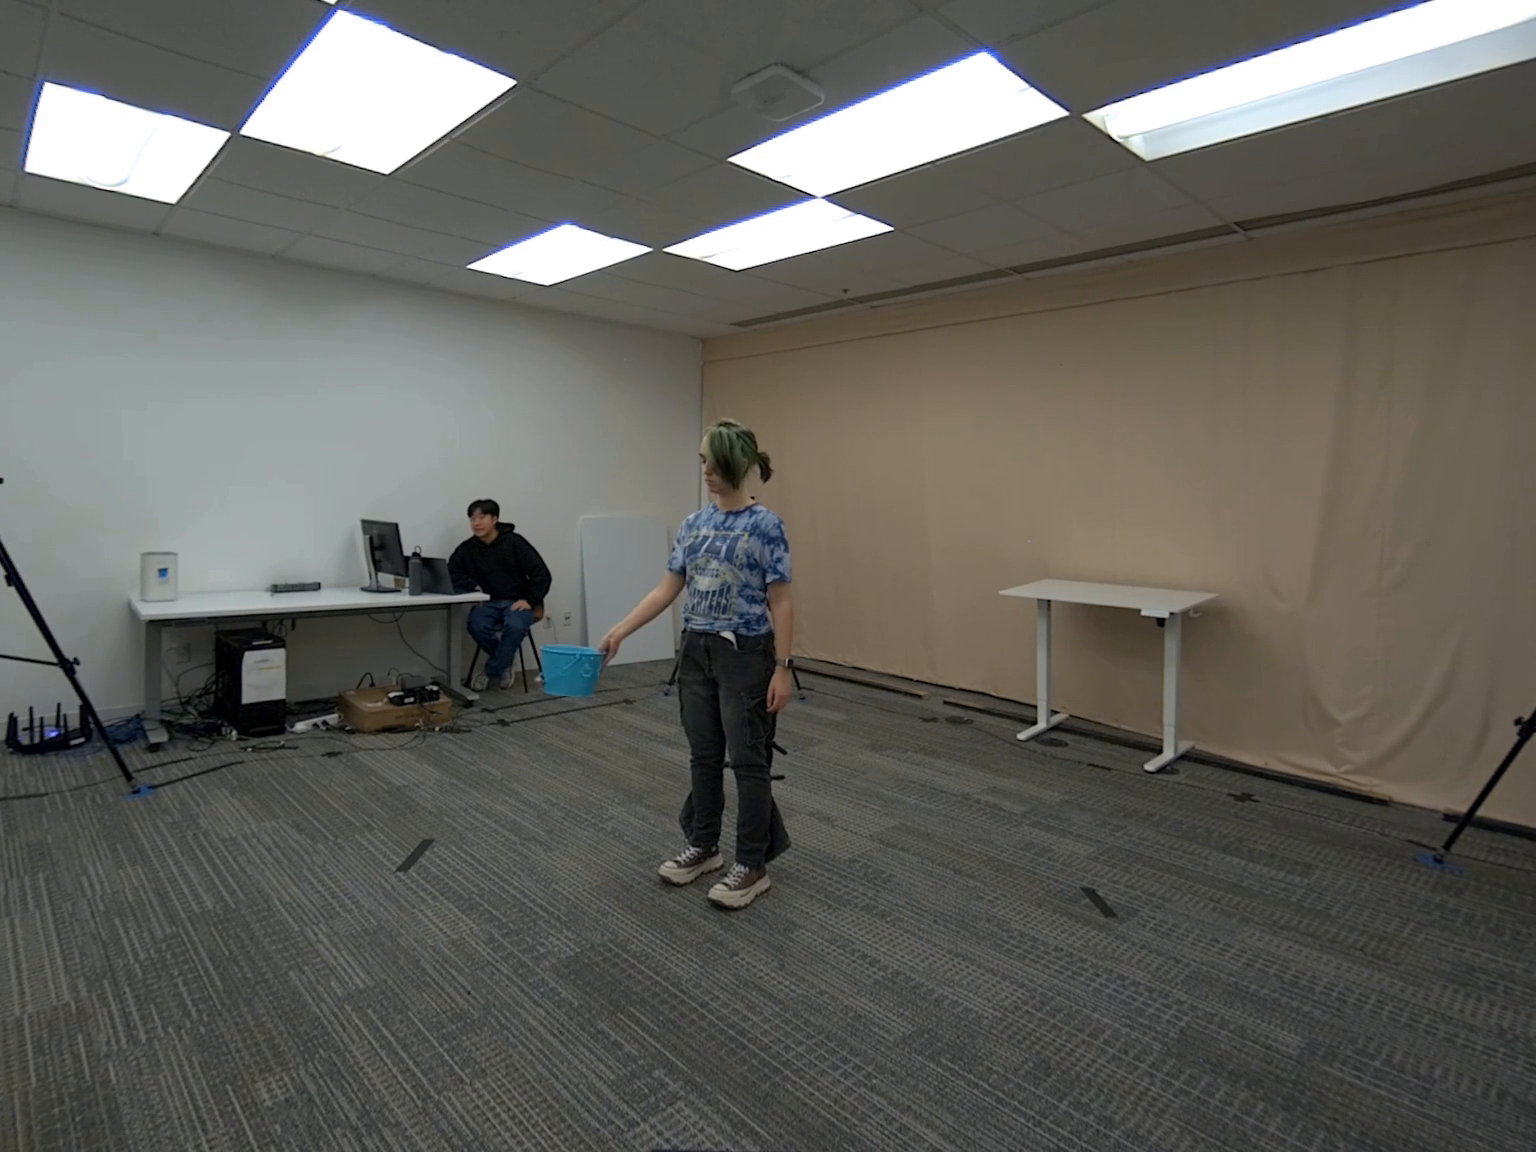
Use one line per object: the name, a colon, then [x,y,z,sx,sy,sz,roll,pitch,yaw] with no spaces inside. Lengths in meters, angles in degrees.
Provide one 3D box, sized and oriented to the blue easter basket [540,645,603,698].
blue easter basket: [-0.700,0.329,2.988,0.243,0.156,0.243,6,-1,-1]
